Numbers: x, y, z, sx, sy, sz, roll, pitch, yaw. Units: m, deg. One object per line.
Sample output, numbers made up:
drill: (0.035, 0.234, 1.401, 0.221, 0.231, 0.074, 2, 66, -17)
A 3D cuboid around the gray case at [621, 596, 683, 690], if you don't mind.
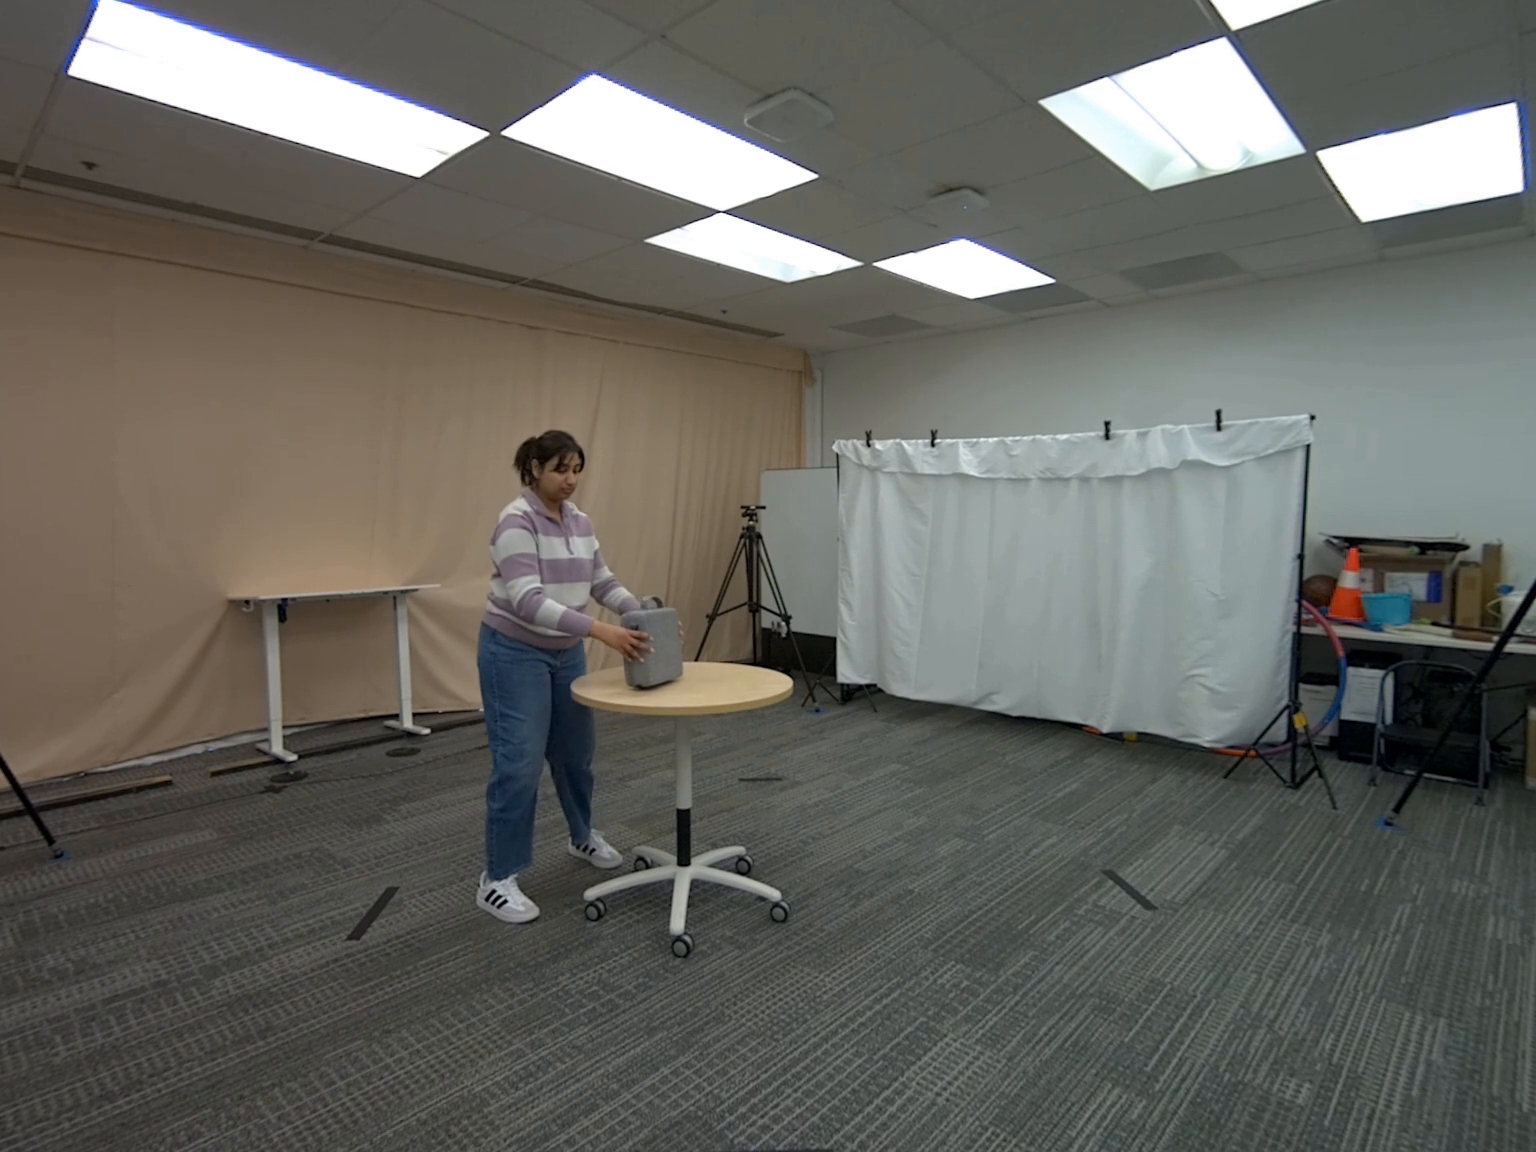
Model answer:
gray case: (-0.389, 0.237, 2.864, 0.107, 0.261, 0.251, -3, -1, 23)
